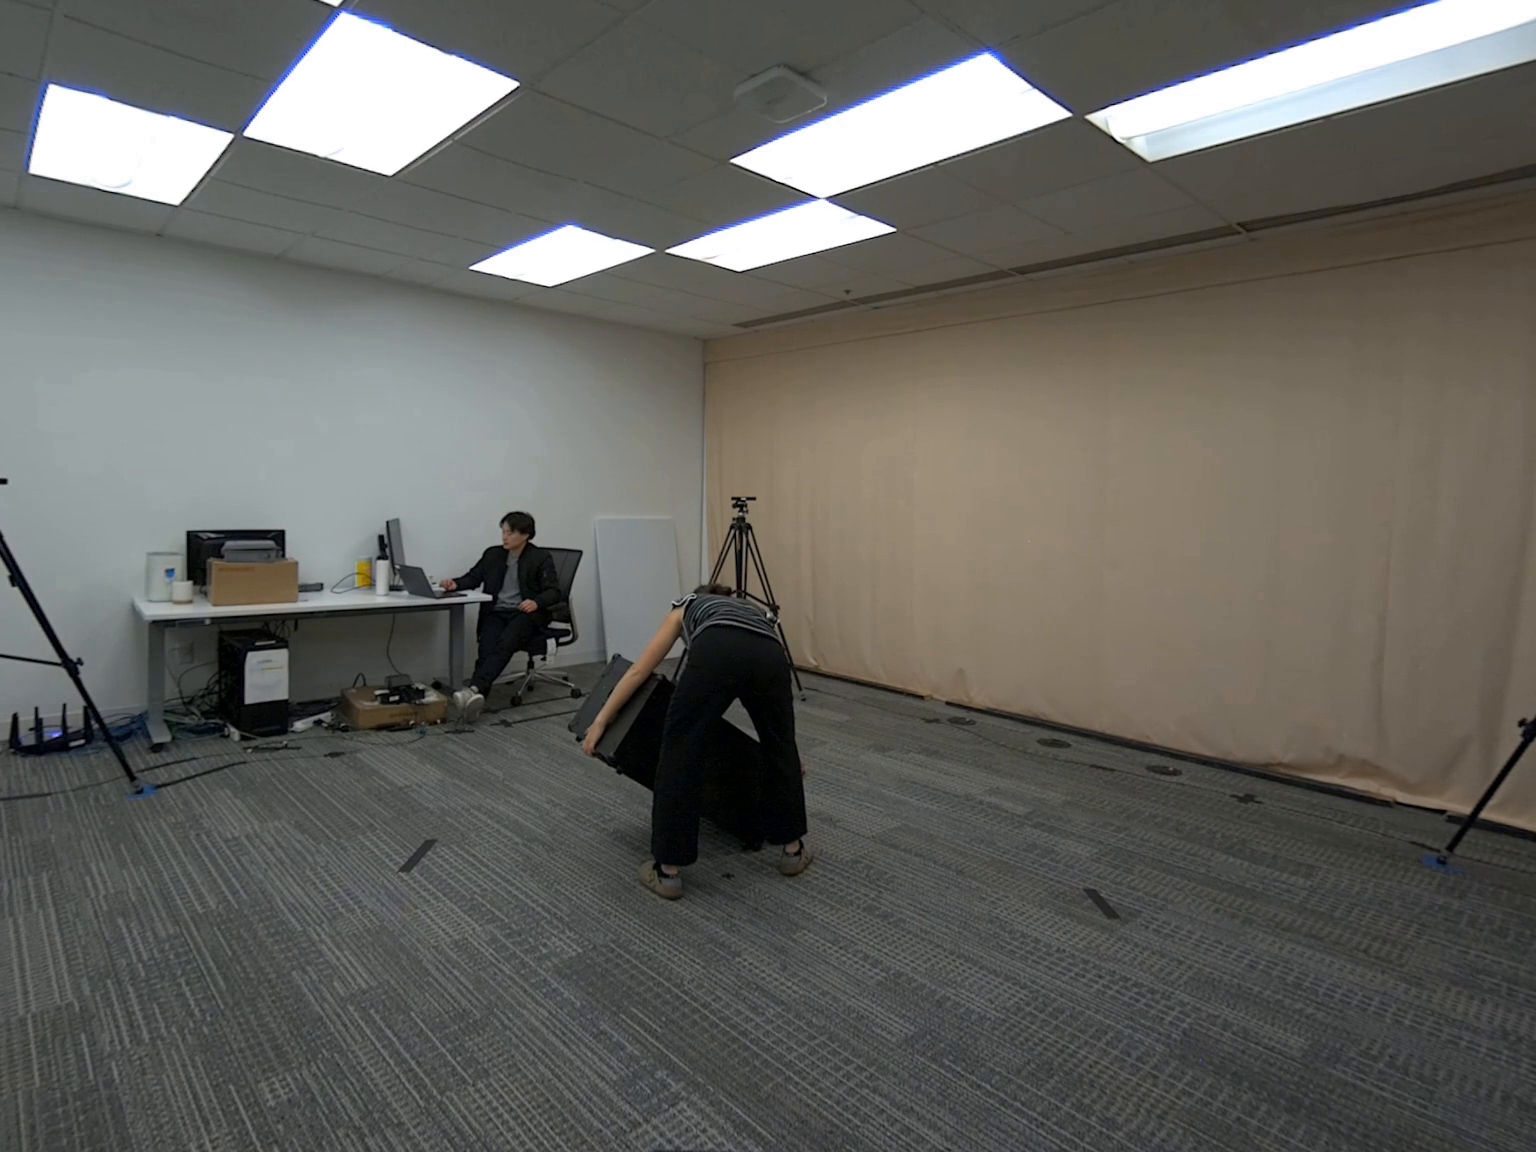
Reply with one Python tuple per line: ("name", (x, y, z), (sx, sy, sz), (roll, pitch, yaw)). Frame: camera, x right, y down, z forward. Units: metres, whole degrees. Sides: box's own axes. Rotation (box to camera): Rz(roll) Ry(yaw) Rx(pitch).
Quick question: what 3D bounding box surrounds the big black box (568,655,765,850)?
("big black box", (-0.334, 0.735, 3.439), (0.840, 0.397, 0.533), (37, -14, -26))
